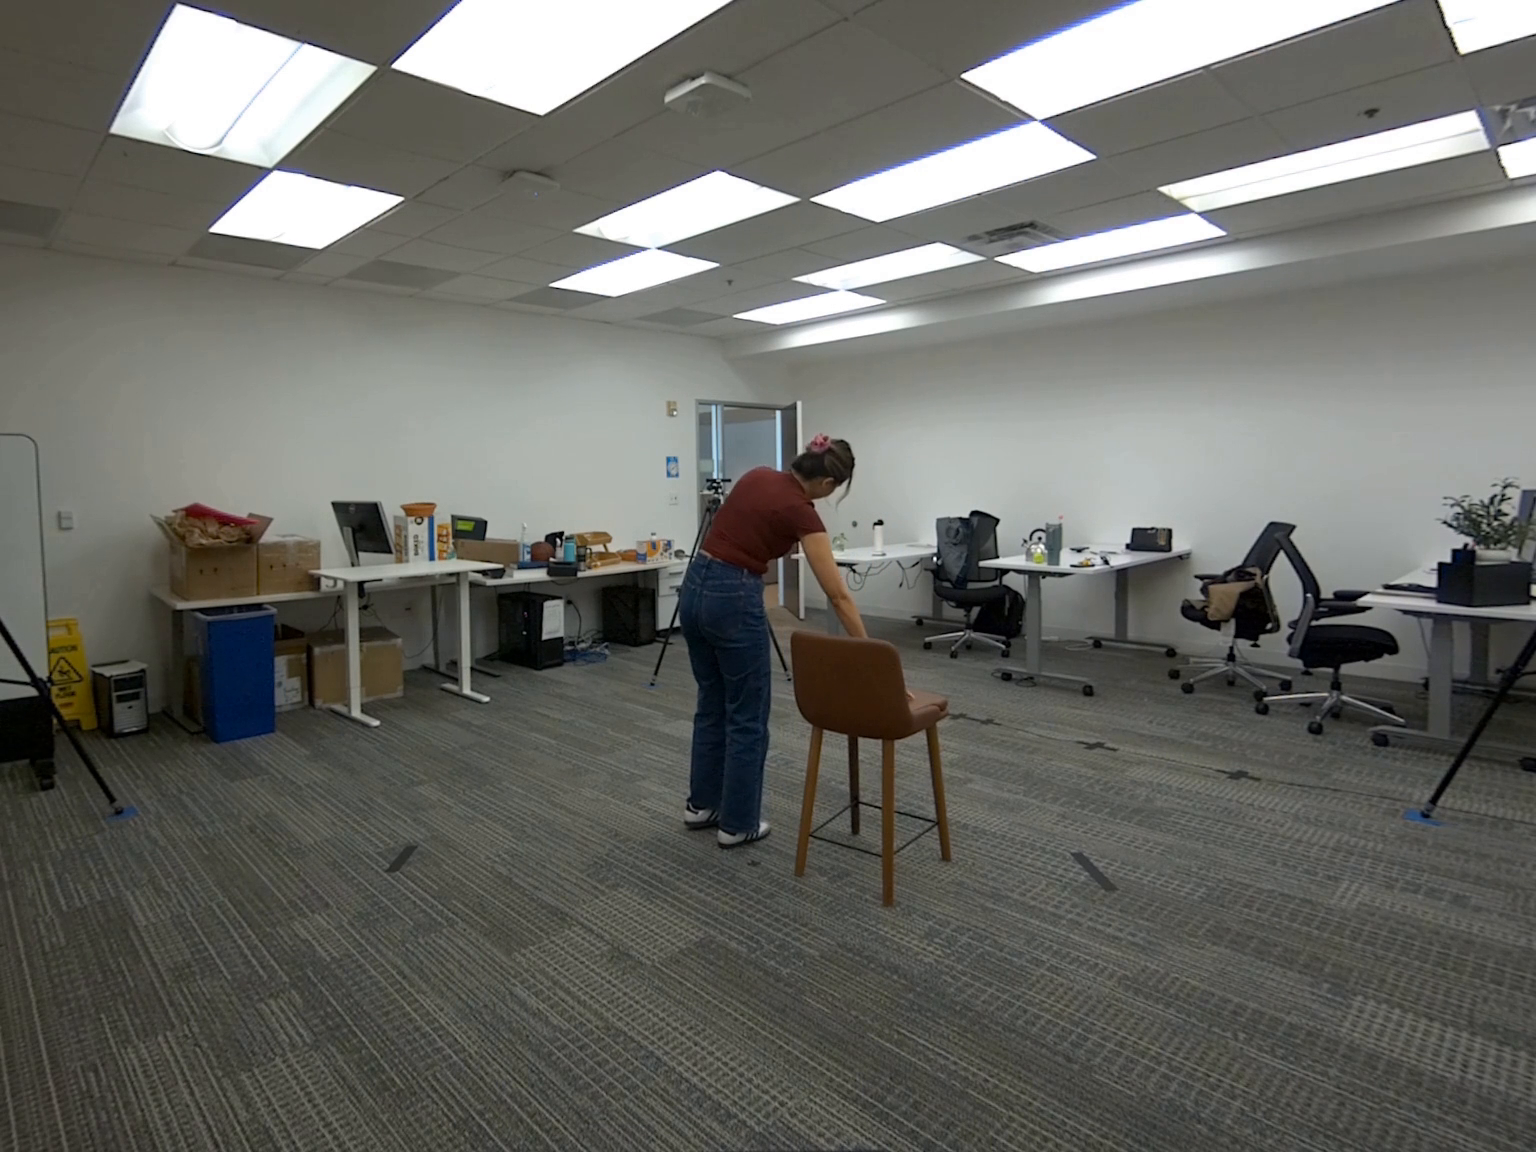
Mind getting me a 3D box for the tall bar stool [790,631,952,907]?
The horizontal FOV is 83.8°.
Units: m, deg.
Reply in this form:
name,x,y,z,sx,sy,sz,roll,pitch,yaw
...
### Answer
name,x,y,z,sx,sy,sz,roll,pitch,yaw
tall bar stool,0.369,0.614,3.032,0.470,0.886,0.456,2,6,37
